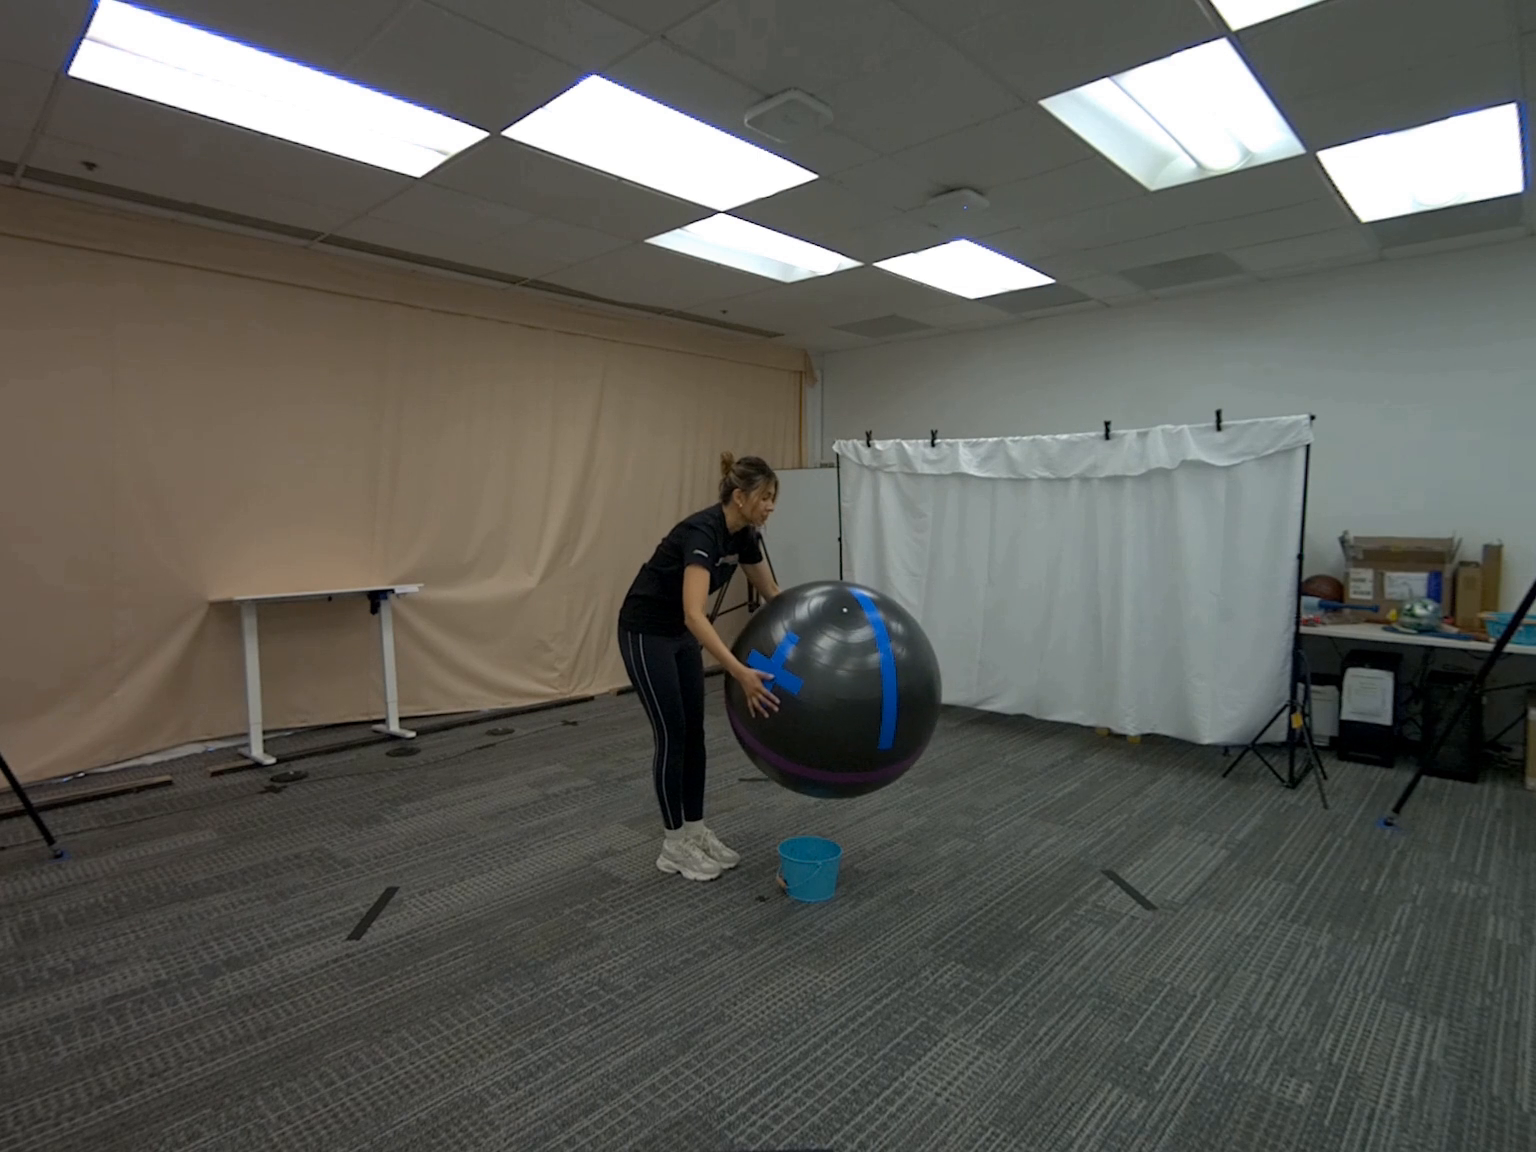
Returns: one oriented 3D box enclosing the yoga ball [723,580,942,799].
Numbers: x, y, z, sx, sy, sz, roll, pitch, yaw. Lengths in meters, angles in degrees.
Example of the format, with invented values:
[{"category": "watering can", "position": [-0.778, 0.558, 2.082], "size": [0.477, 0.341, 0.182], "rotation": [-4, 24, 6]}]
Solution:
[{"category": "yoga ball", "position": [0.233, 0.398, 2.971], "size": [0.757, 0.756, 0.760], "rotation": [0, 4, -2]}]
